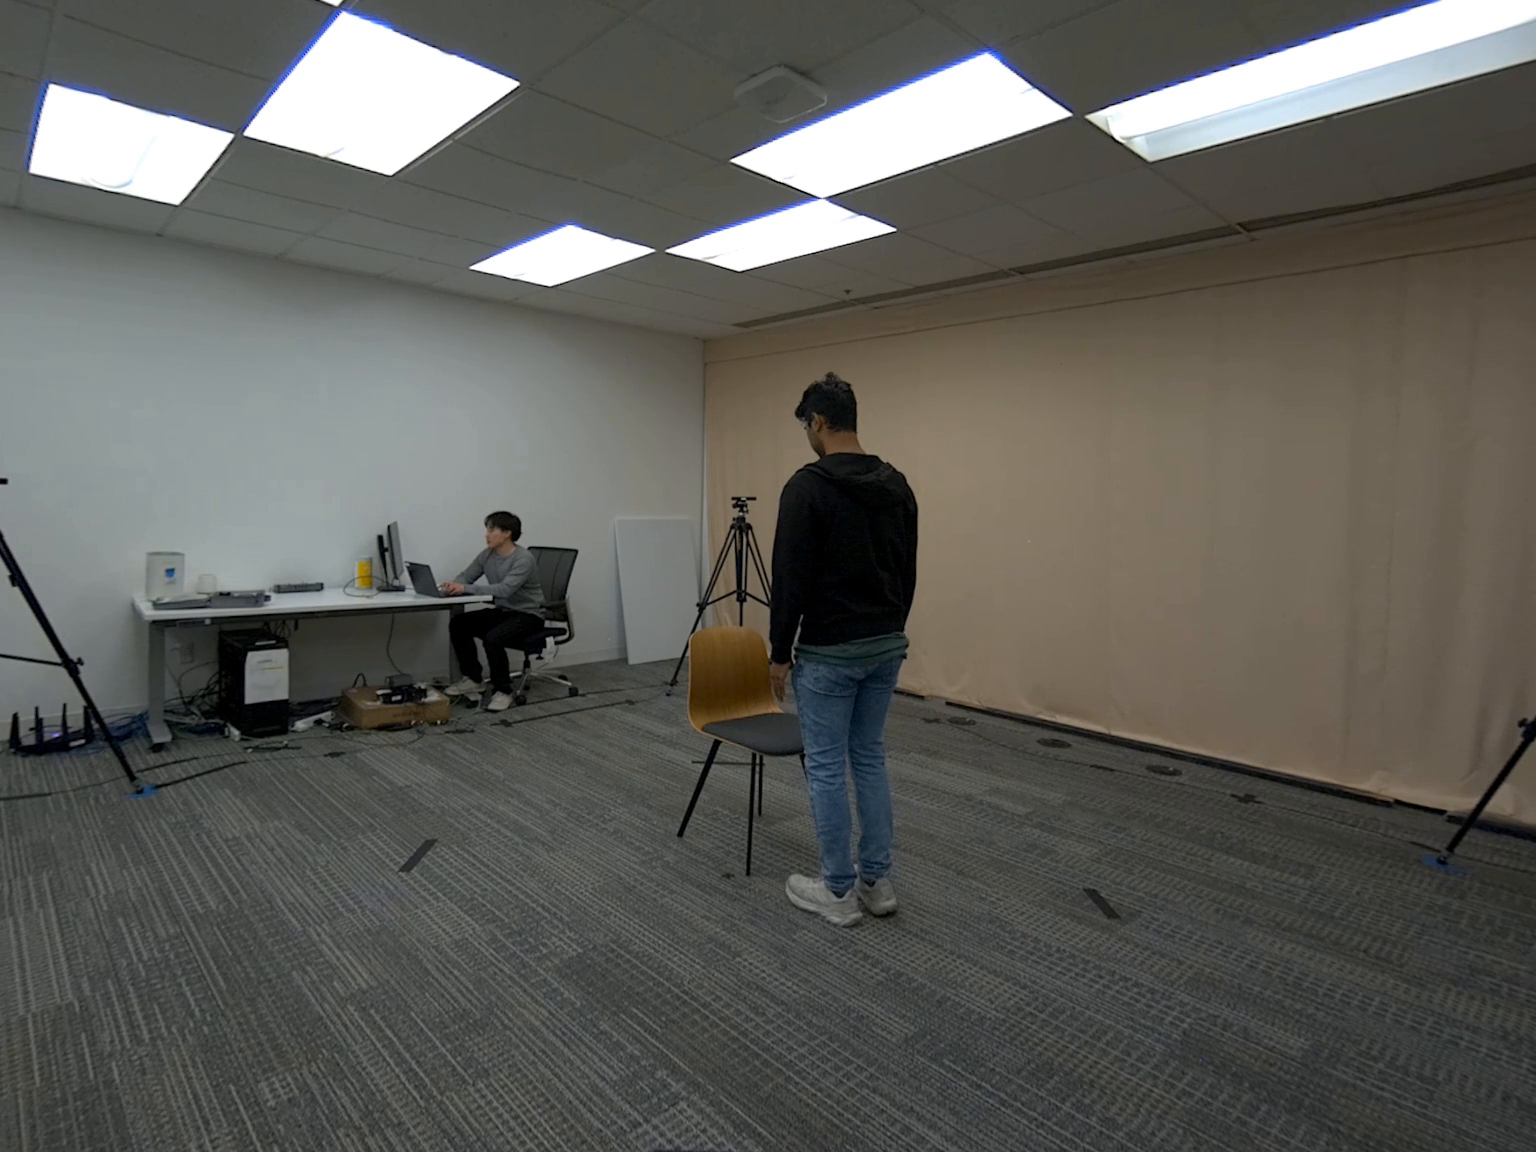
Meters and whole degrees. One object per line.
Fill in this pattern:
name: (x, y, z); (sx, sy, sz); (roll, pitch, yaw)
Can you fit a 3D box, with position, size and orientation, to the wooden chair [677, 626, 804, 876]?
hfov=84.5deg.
wooden chair: (-0.049, 0.661, 3.385); (0.467, 0.878, 0.535); (-1, -1, -40)
